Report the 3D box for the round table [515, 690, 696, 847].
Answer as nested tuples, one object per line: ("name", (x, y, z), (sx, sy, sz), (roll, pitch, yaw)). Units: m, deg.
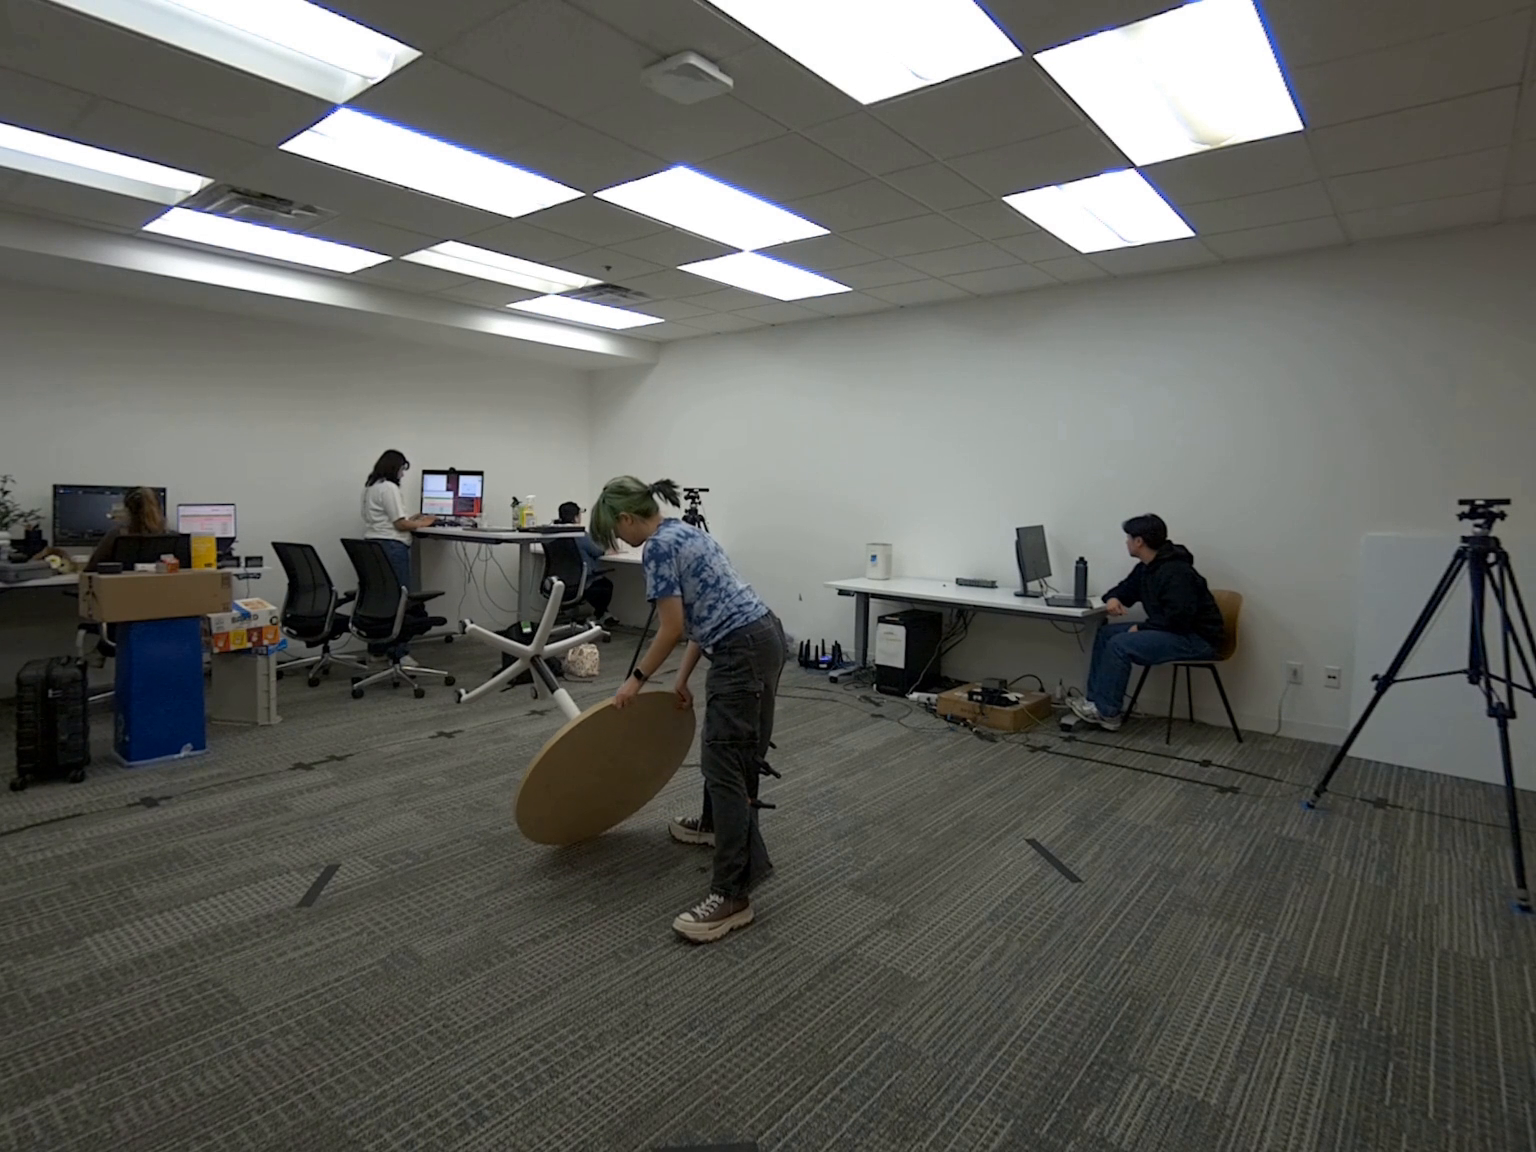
("round table", (-0.846, 0.505, 3.438), (0.741, 0.756, 0.827), (-3, 36, -44))
